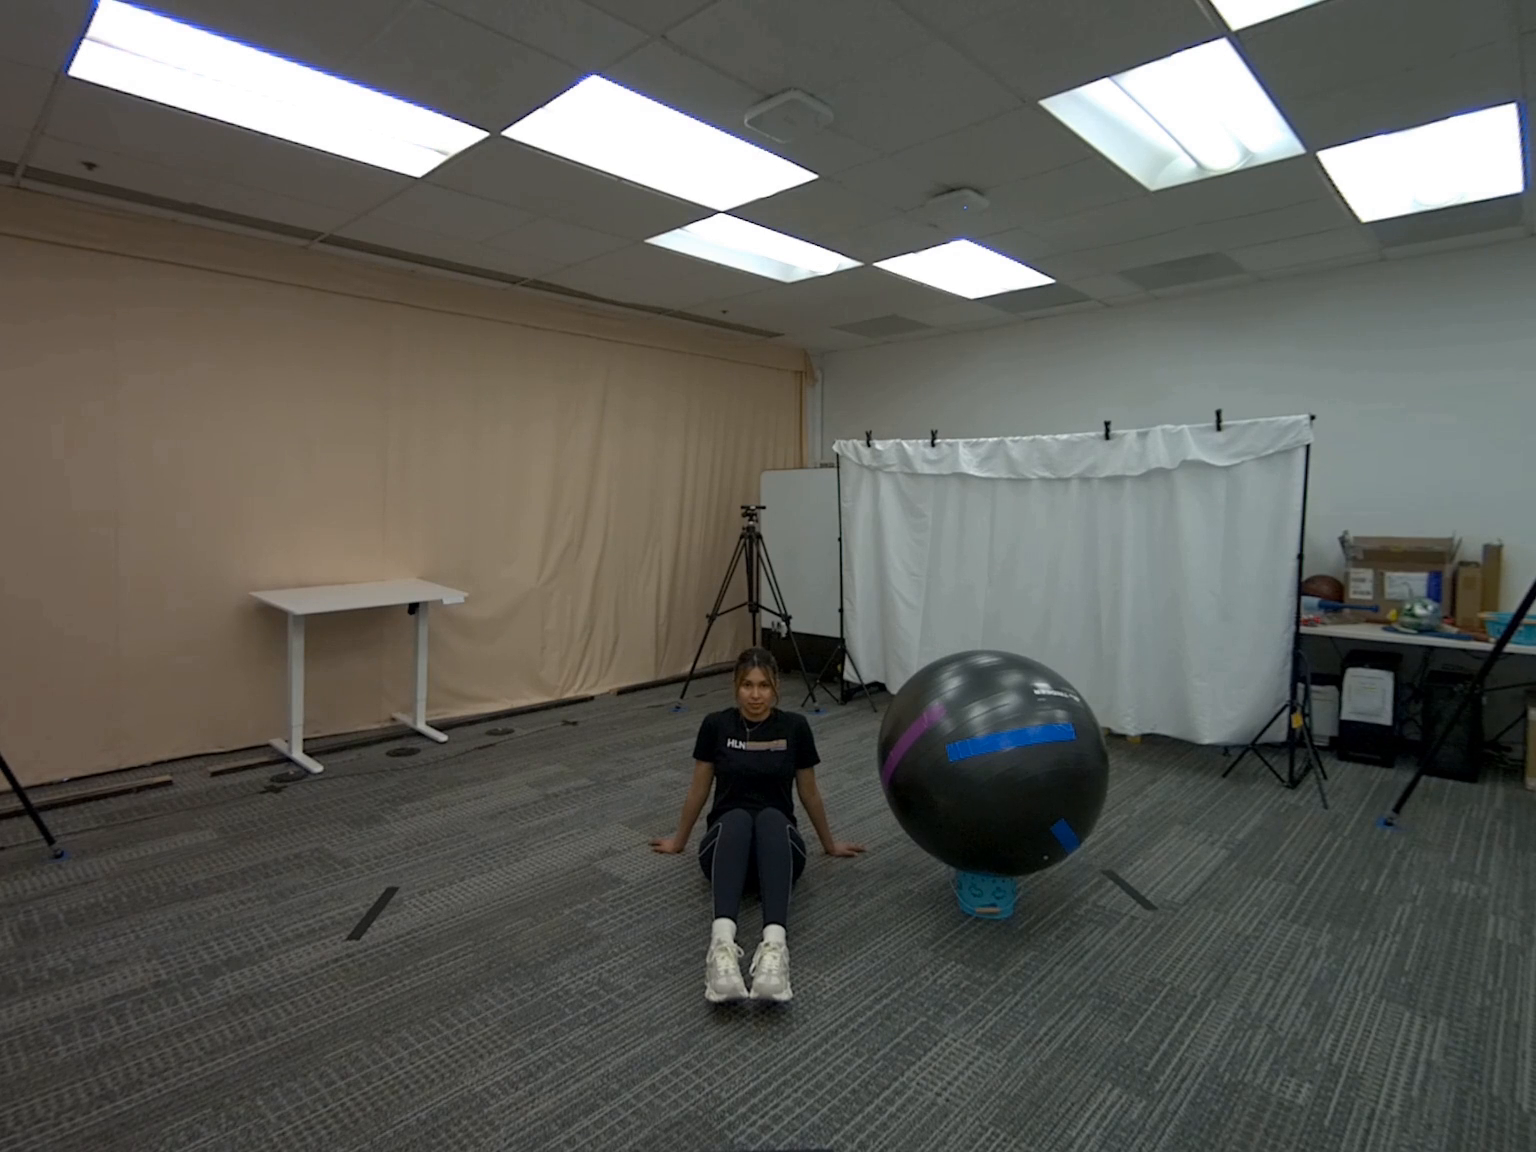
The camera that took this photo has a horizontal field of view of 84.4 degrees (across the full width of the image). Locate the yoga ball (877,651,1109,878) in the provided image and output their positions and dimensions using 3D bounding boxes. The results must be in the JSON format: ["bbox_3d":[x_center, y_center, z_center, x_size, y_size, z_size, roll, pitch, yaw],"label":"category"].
[{"bbox_3d":[0.766,0.638,2.904,0.757,0.756,0.760,0,4,-2],"label":"yoga ball"}]
